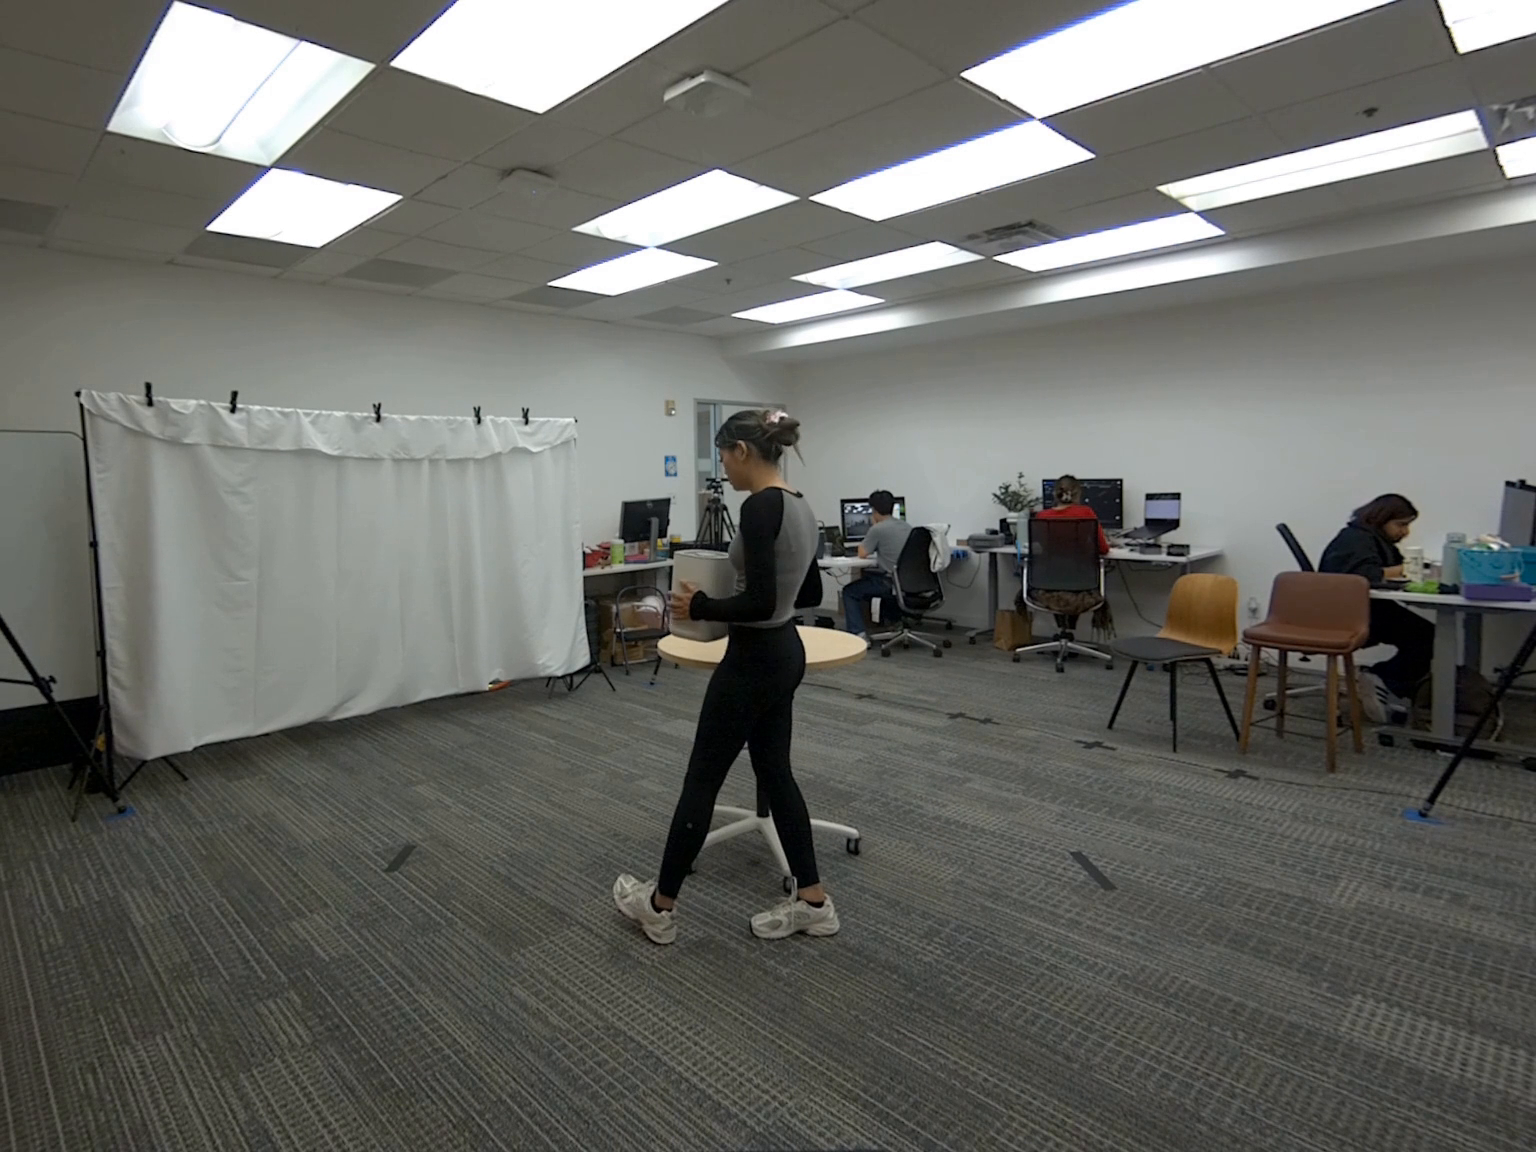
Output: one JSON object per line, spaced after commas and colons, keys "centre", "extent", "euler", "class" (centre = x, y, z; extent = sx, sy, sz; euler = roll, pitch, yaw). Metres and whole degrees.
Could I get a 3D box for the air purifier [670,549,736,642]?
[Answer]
{"centre": [-0.198, 0.061, 2.660], "extent": [0.176, 0.264, 0.167], "euler": [9, 7, 27], "class": "air purifier"}
